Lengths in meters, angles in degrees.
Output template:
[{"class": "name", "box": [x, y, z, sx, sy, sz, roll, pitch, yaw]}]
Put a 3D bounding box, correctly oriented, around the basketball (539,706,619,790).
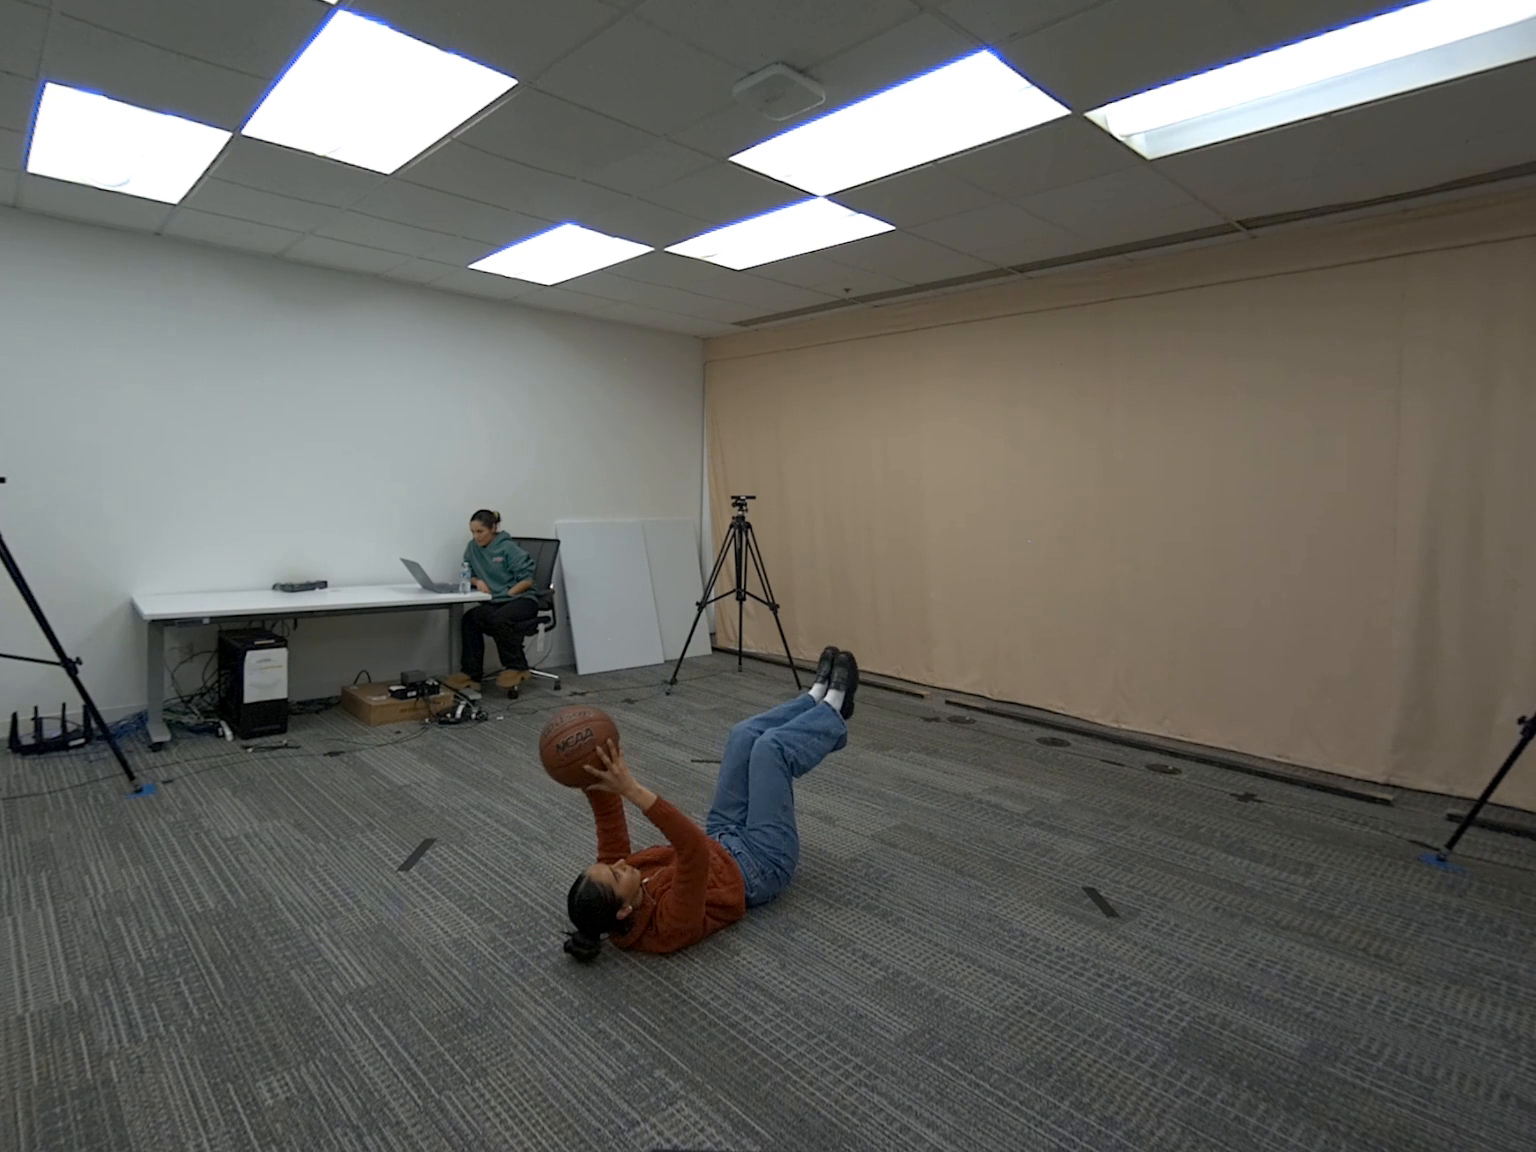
[{"class": "basketball", "box": [-0.557, 0.506, 2.461, 0.236, 0.234, 0.237, 0, 8, -1]}]
